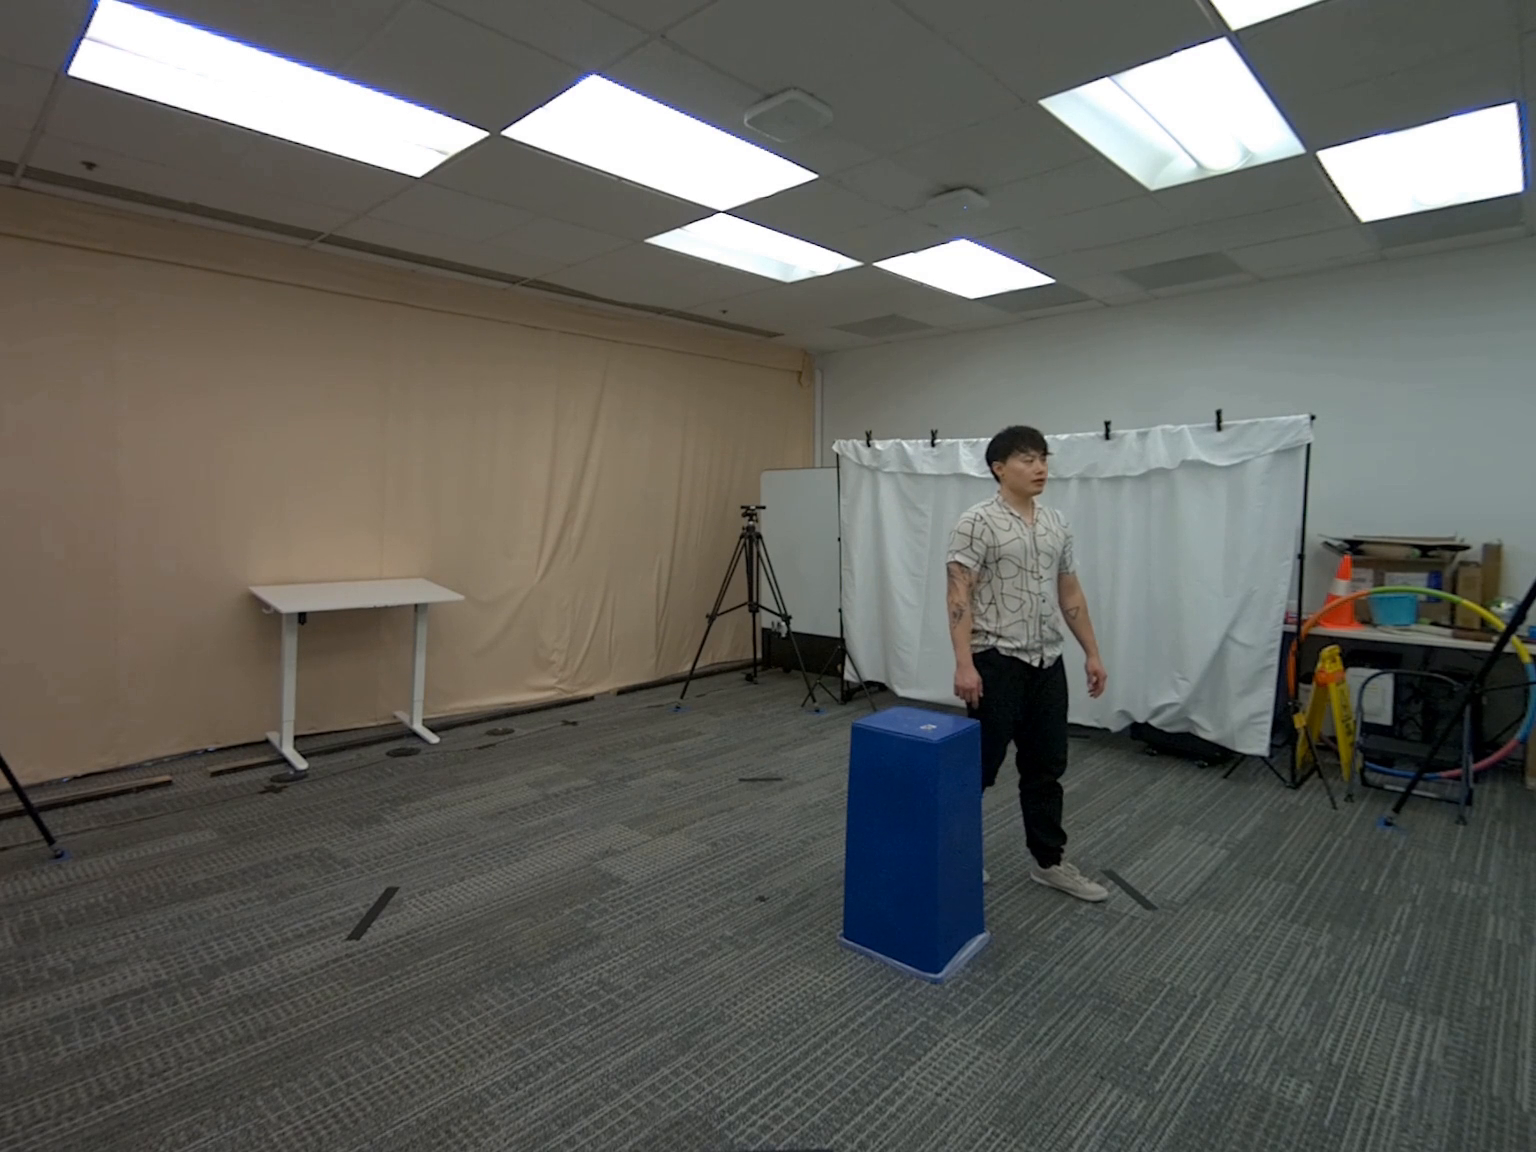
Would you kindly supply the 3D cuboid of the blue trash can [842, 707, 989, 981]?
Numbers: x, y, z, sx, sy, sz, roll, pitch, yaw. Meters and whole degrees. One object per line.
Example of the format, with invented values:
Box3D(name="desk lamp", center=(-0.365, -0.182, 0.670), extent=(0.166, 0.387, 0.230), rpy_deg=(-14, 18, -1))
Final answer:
Box3D(name="blue trash can", center=(0.476, 0.816, 2.667), extent=(0.386, 0.711, 0.367), rpy_deg=(4, 6, 40))
